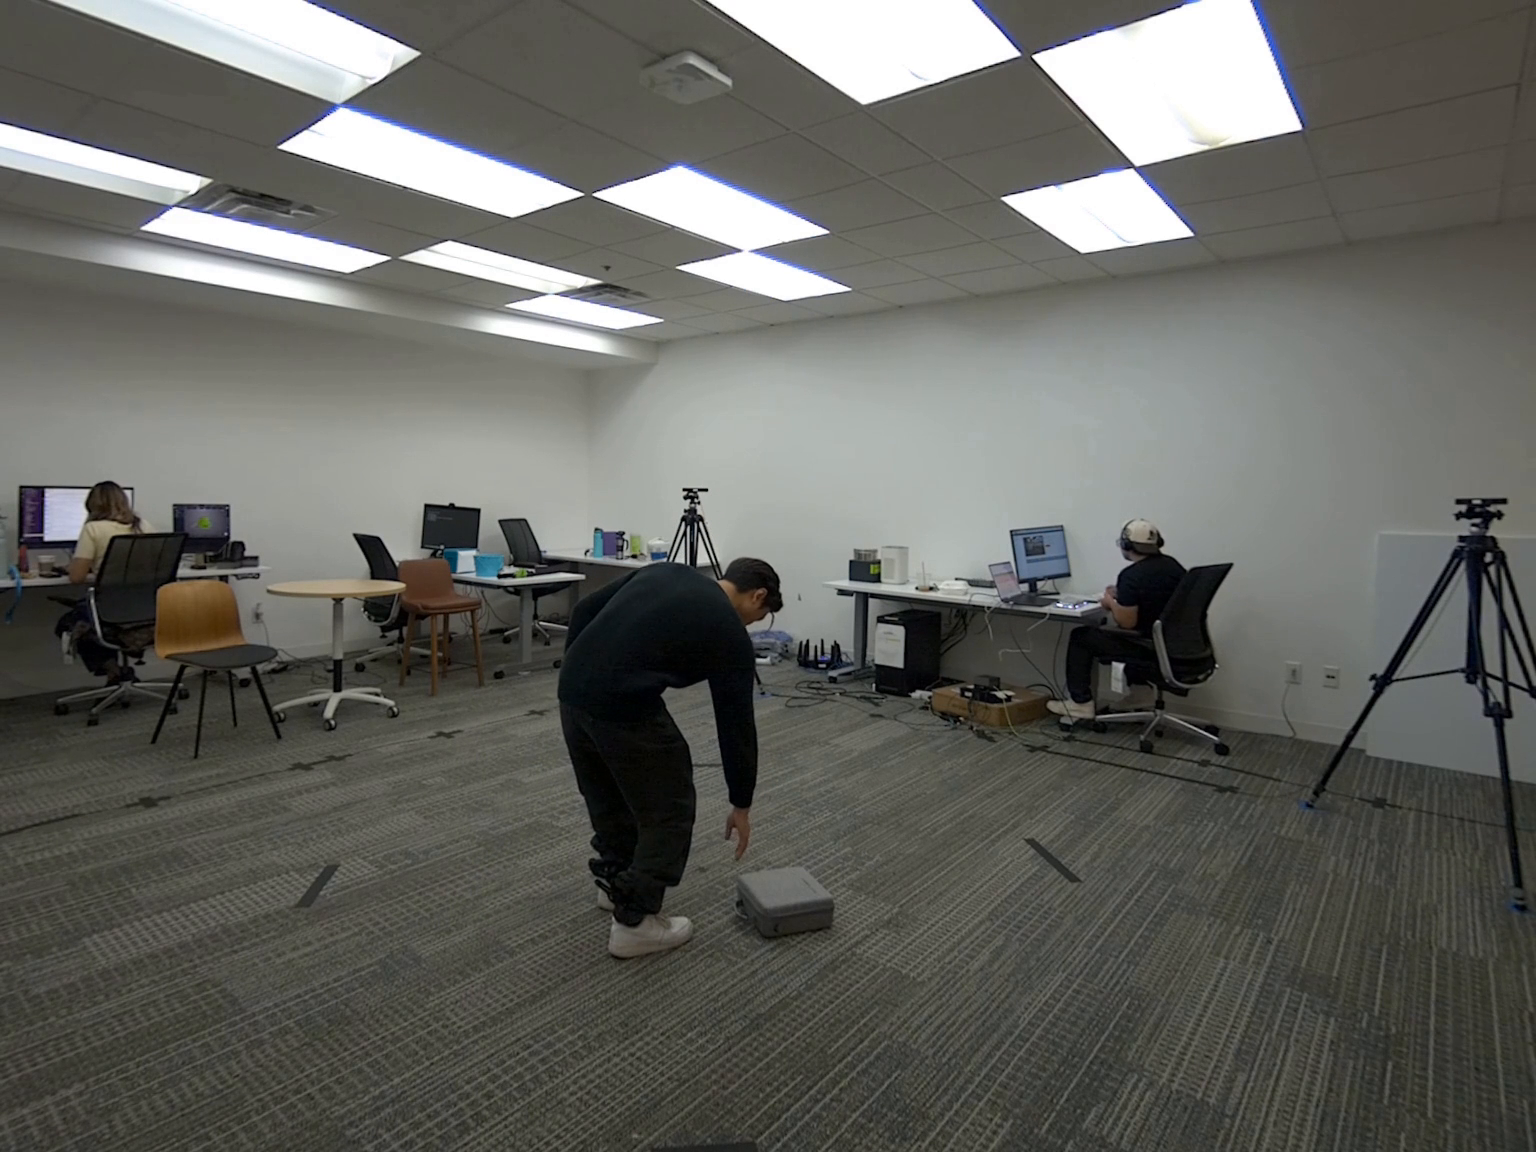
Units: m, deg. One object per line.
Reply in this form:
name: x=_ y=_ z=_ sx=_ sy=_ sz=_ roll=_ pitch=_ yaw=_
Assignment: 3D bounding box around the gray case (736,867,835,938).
gray case: x=0.050 y=1.058 z=2.772 sx=0.255 sy=0.104 sz=0.263 roll=-1 pitch=7 yaw=-21
